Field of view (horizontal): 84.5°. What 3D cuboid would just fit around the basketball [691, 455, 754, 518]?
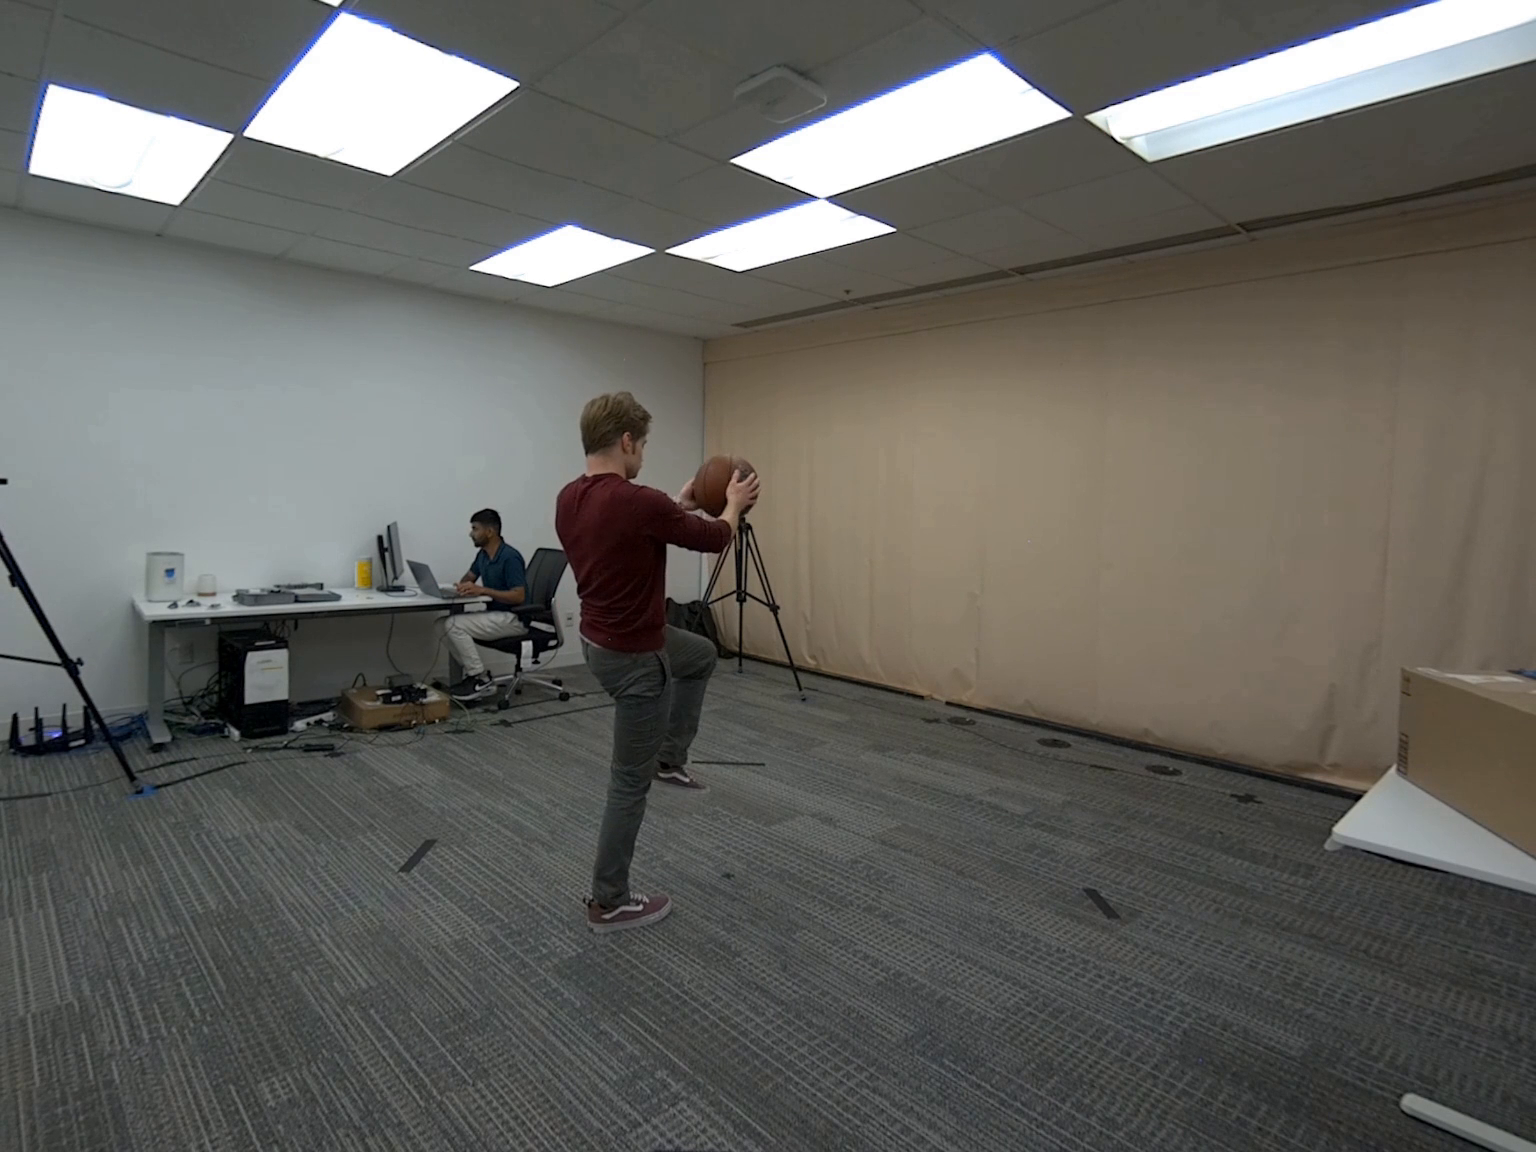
[{"bbox_3d":[-0.158,-0.313,3.055,0.236,0.235,0.237,1,4,-1],"label":"basketball"}]
